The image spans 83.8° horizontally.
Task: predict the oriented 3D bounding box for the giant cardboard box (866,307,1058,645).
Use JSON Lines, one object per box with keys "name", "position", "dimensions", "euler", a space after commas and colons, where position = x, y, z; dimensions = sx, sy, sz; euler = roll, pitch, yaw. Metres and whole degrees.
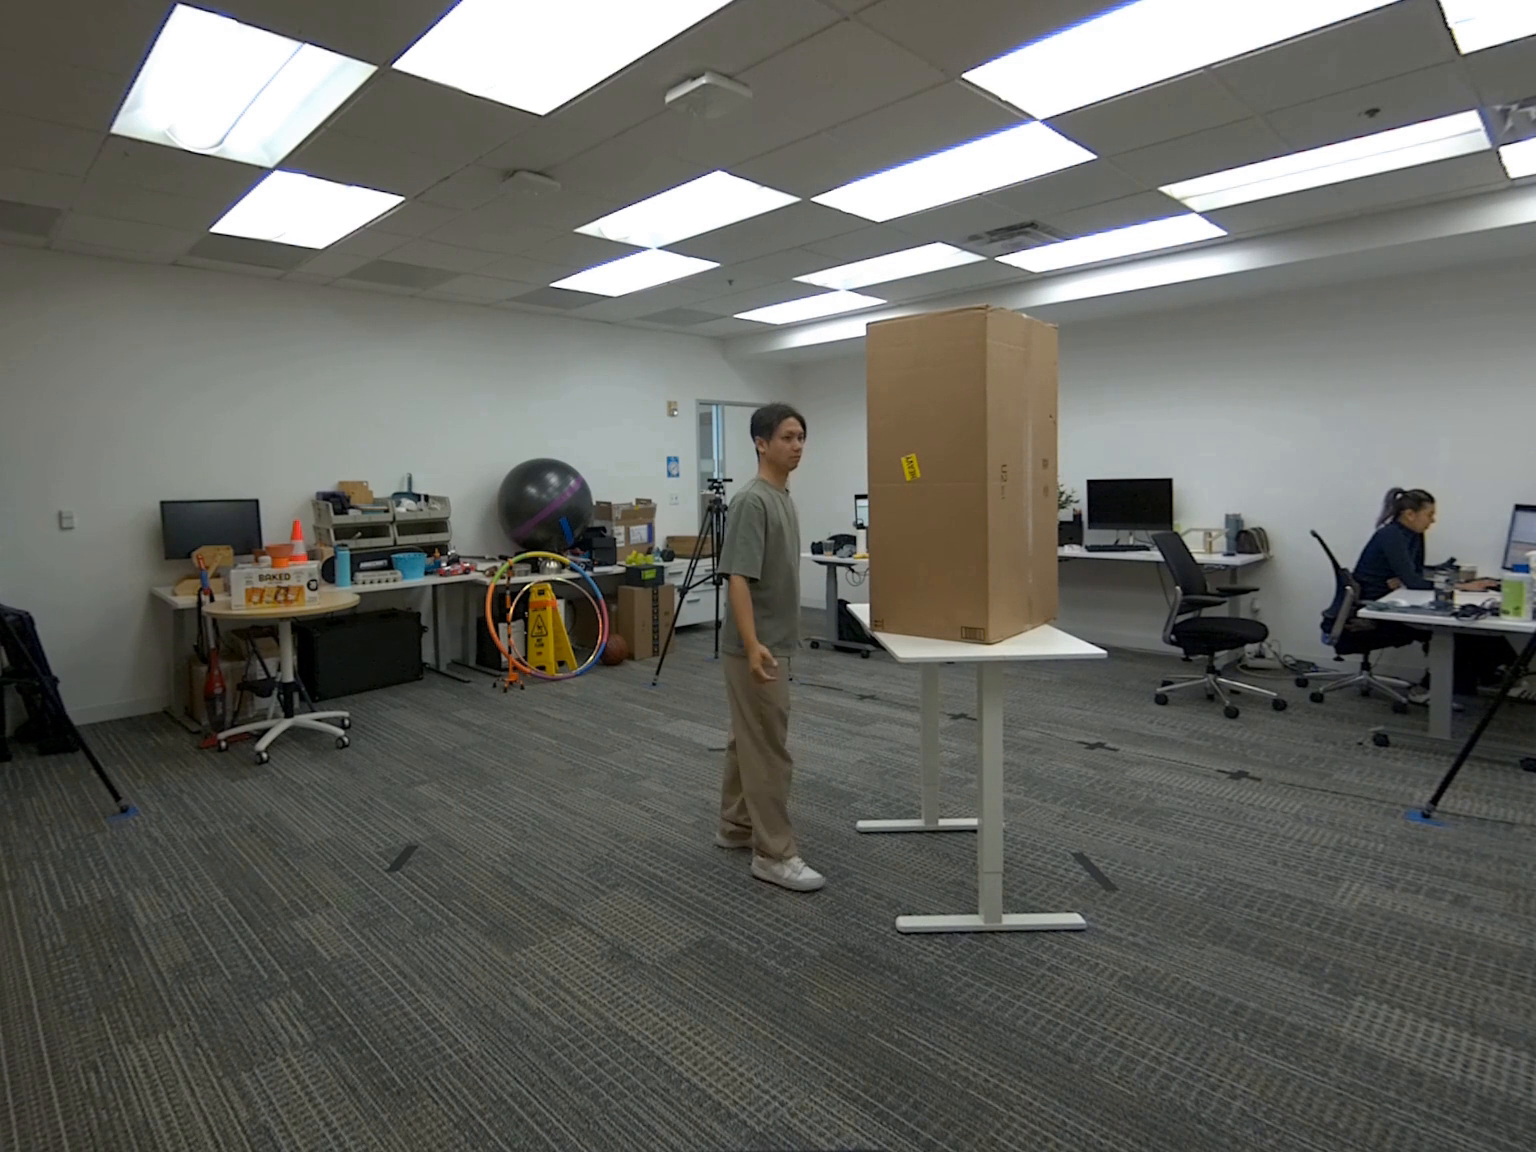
{"name": "giant cardboard box", "position": [0.673, -0.340, 2.903], "dimensions": [0.439, 1.022, 0.563], "euler": [2, 6, 40]}
